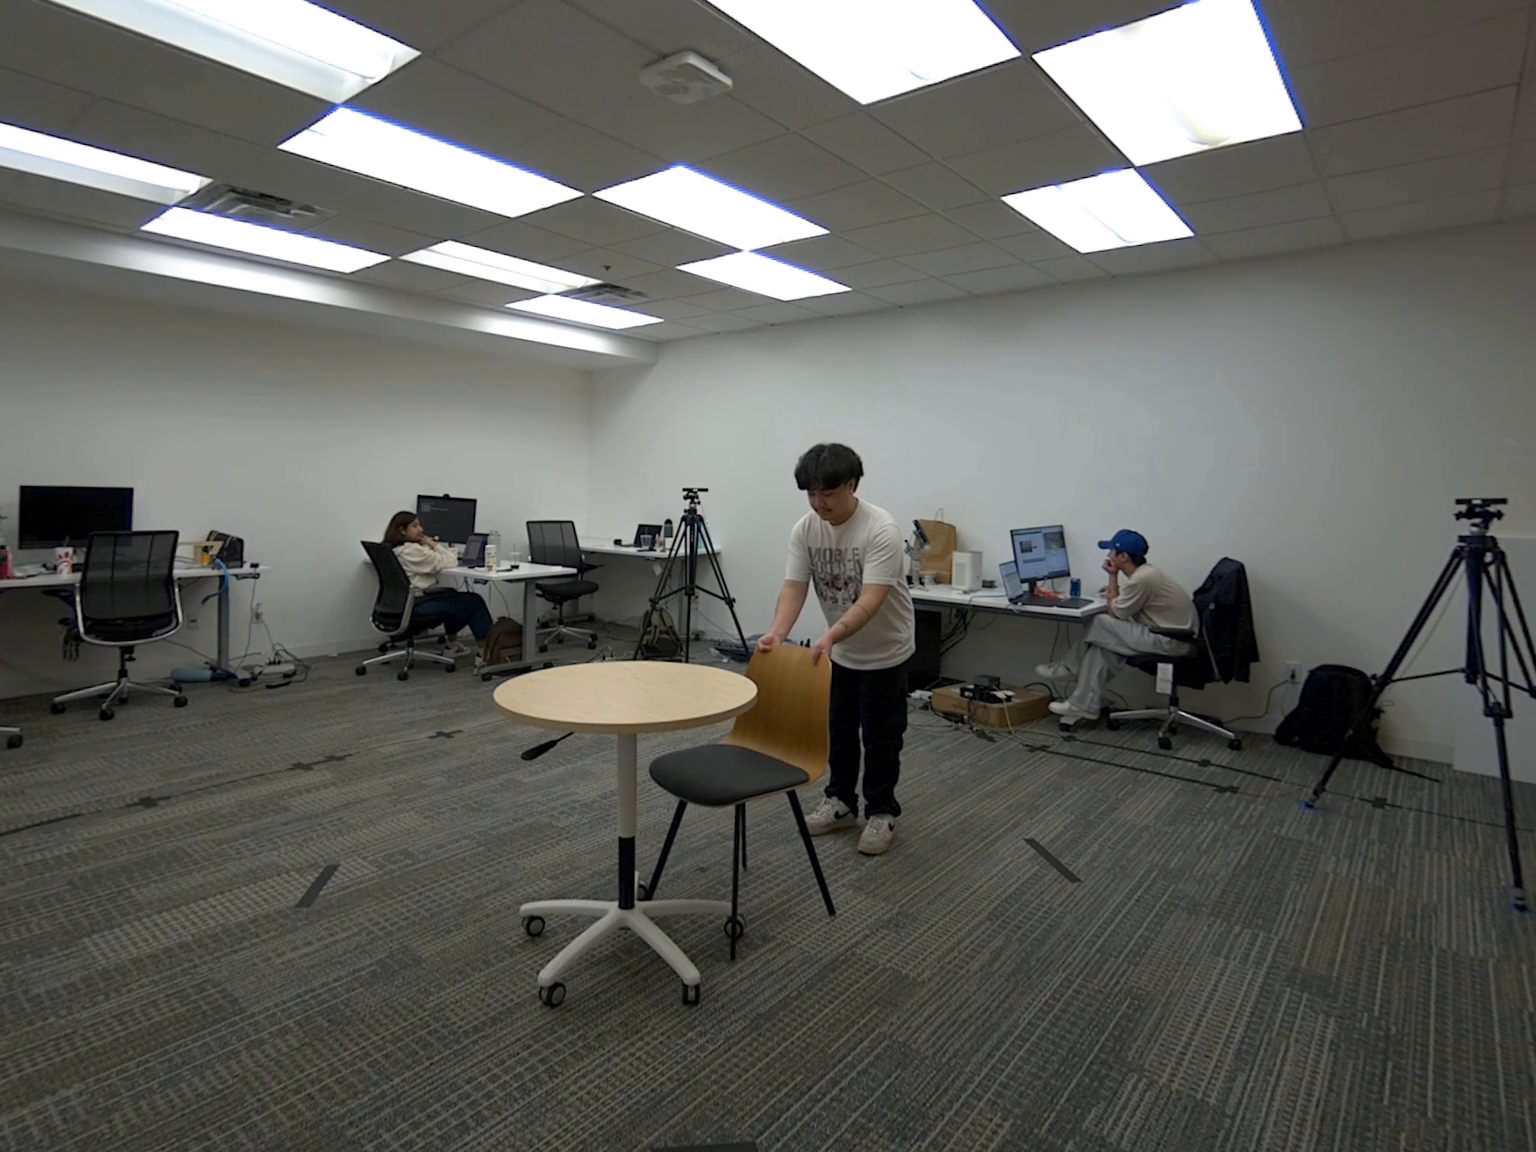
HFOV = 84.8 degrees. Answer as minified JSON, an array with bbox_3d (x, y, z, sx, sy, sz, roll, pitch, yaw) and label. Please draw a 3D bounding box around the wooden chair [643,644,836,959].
[{"bbox_3d":[-0.101,0.673,2.788,0.506,0.877,0.495,4,1,-41],"label":"wooden chair"}]
